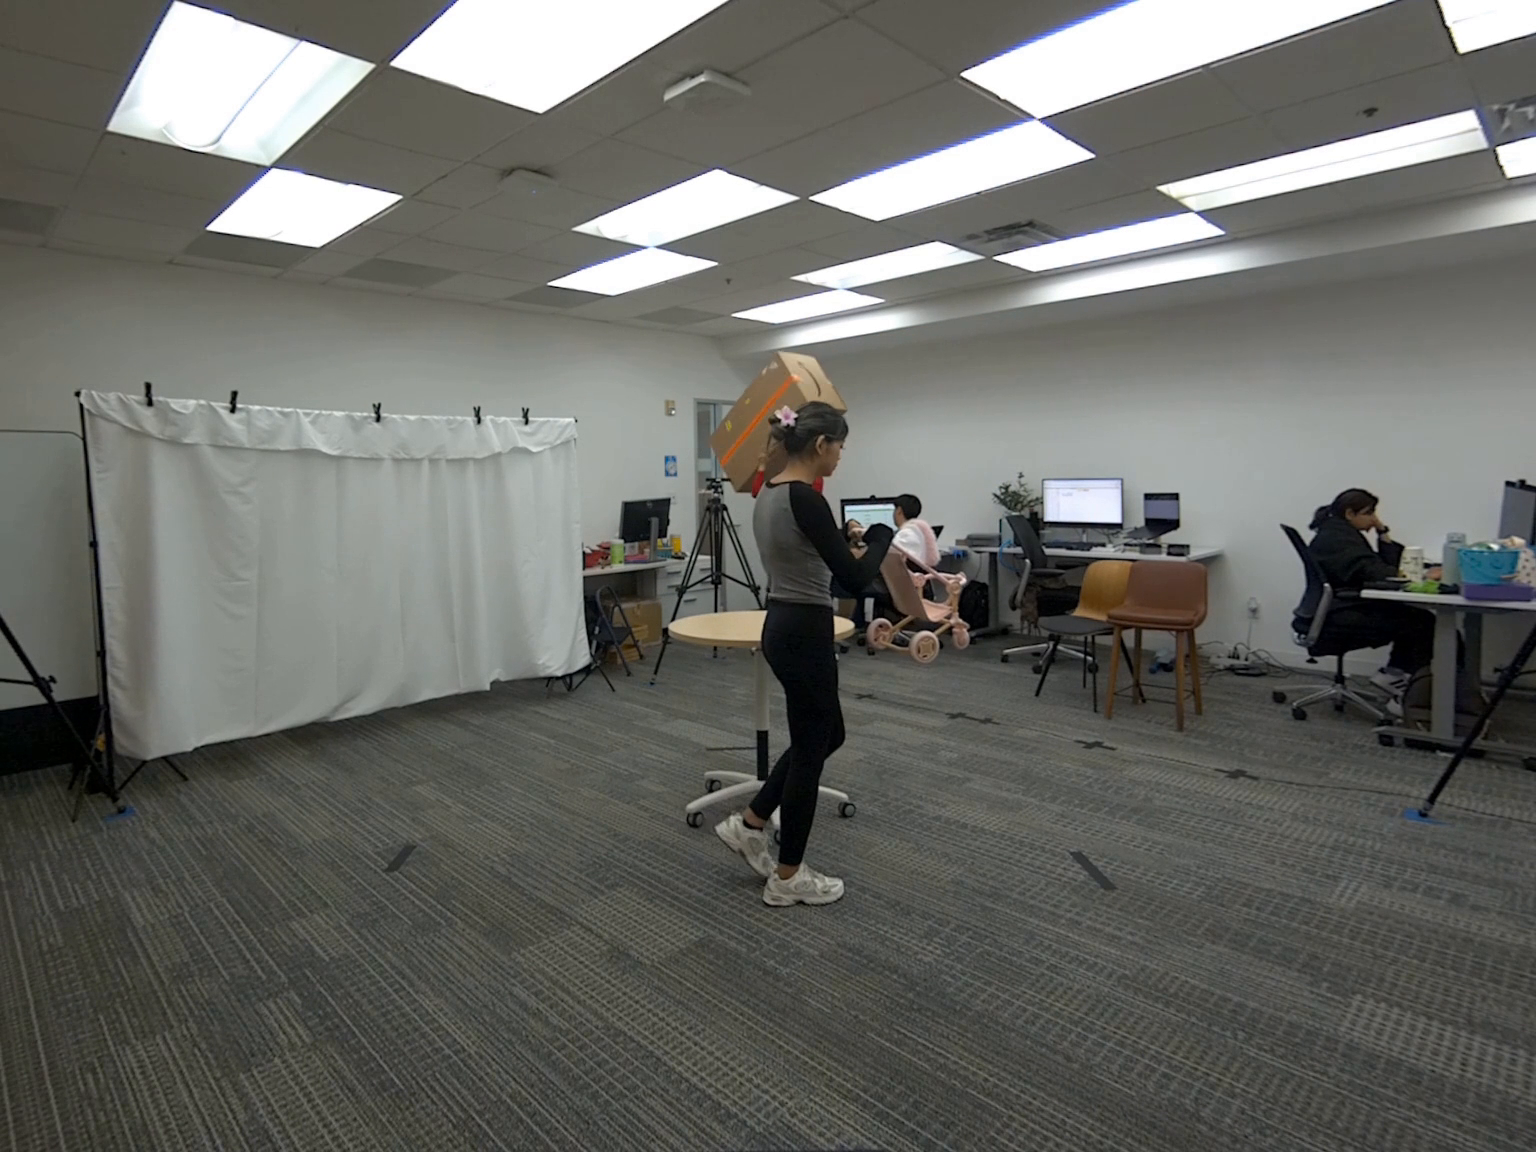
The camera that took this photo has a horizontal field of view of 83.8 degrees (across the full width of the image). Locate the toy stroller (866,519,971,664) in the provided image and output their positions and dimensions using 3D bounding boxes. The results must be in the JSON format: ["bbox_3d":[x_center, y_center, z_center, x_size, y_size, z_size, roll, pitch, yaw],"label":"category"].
[{"bbox_3d":[0.516,0.046,2.927,0.337,0.528,0.288,-18,12,-19],"label":"toy stroller"}]
